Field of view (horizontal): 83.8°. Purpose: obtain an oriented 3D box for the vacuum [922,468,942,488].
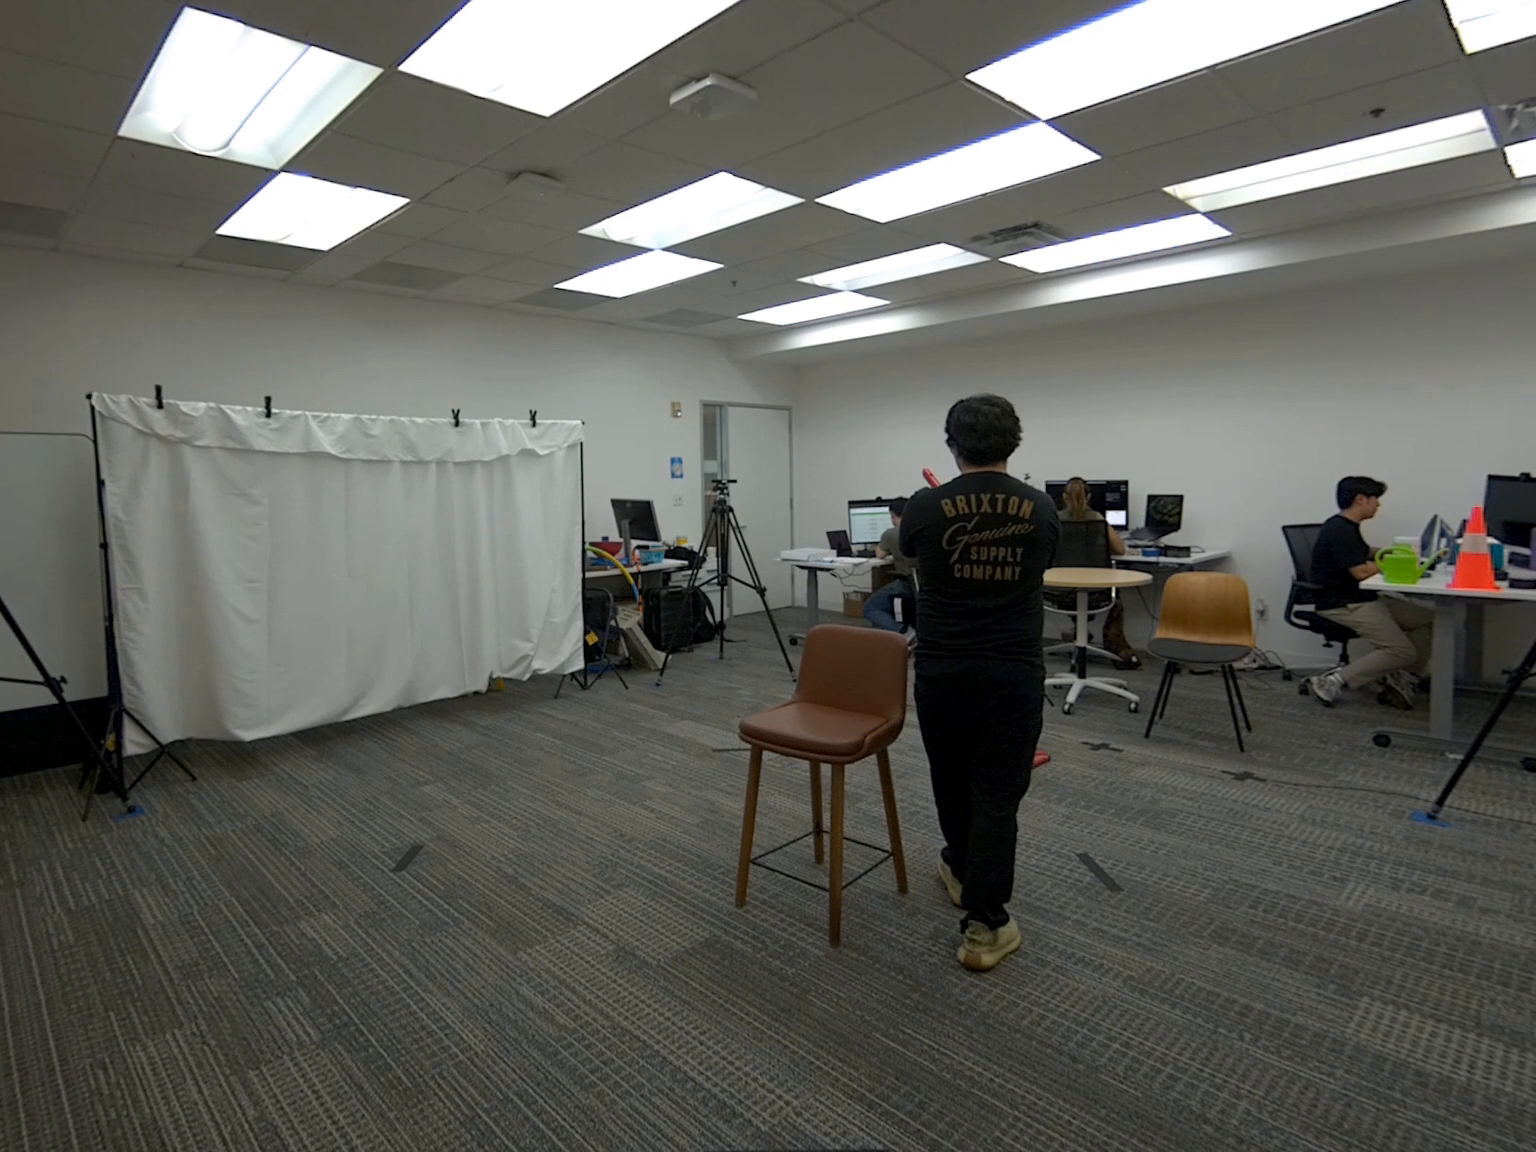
[{"bbox_3d":[0.727,0.120,3.018,0.249,1.058,0.144,-12,-8,-17],"label":"vacuum"}]
